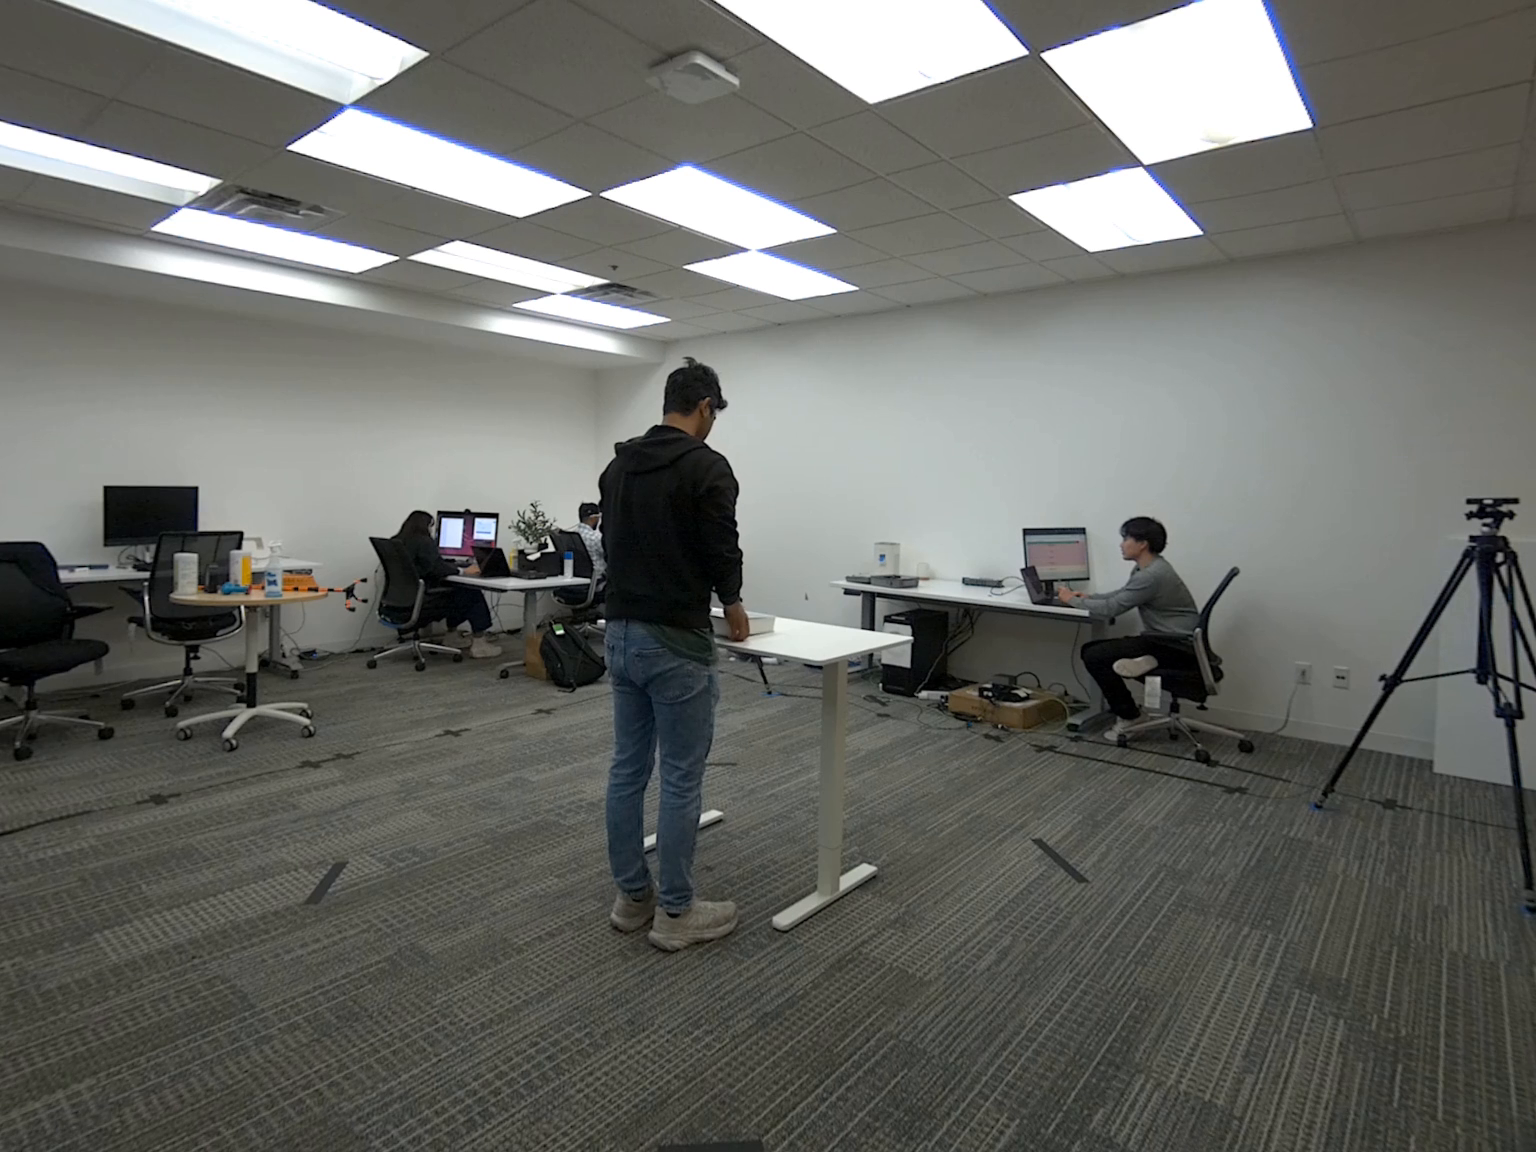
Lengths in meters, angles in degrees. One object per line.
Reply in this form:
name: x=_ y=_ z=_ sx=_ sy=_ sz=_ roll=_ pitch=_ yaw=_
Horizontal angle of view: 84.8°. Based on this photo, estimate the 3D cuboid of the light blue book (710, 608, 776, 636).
light blue book: x=-0.132 y=0.166 z=3.011 sx=0.198 sy=0.059 sz=0.253 roll=8 pitch=7 yaw=42
